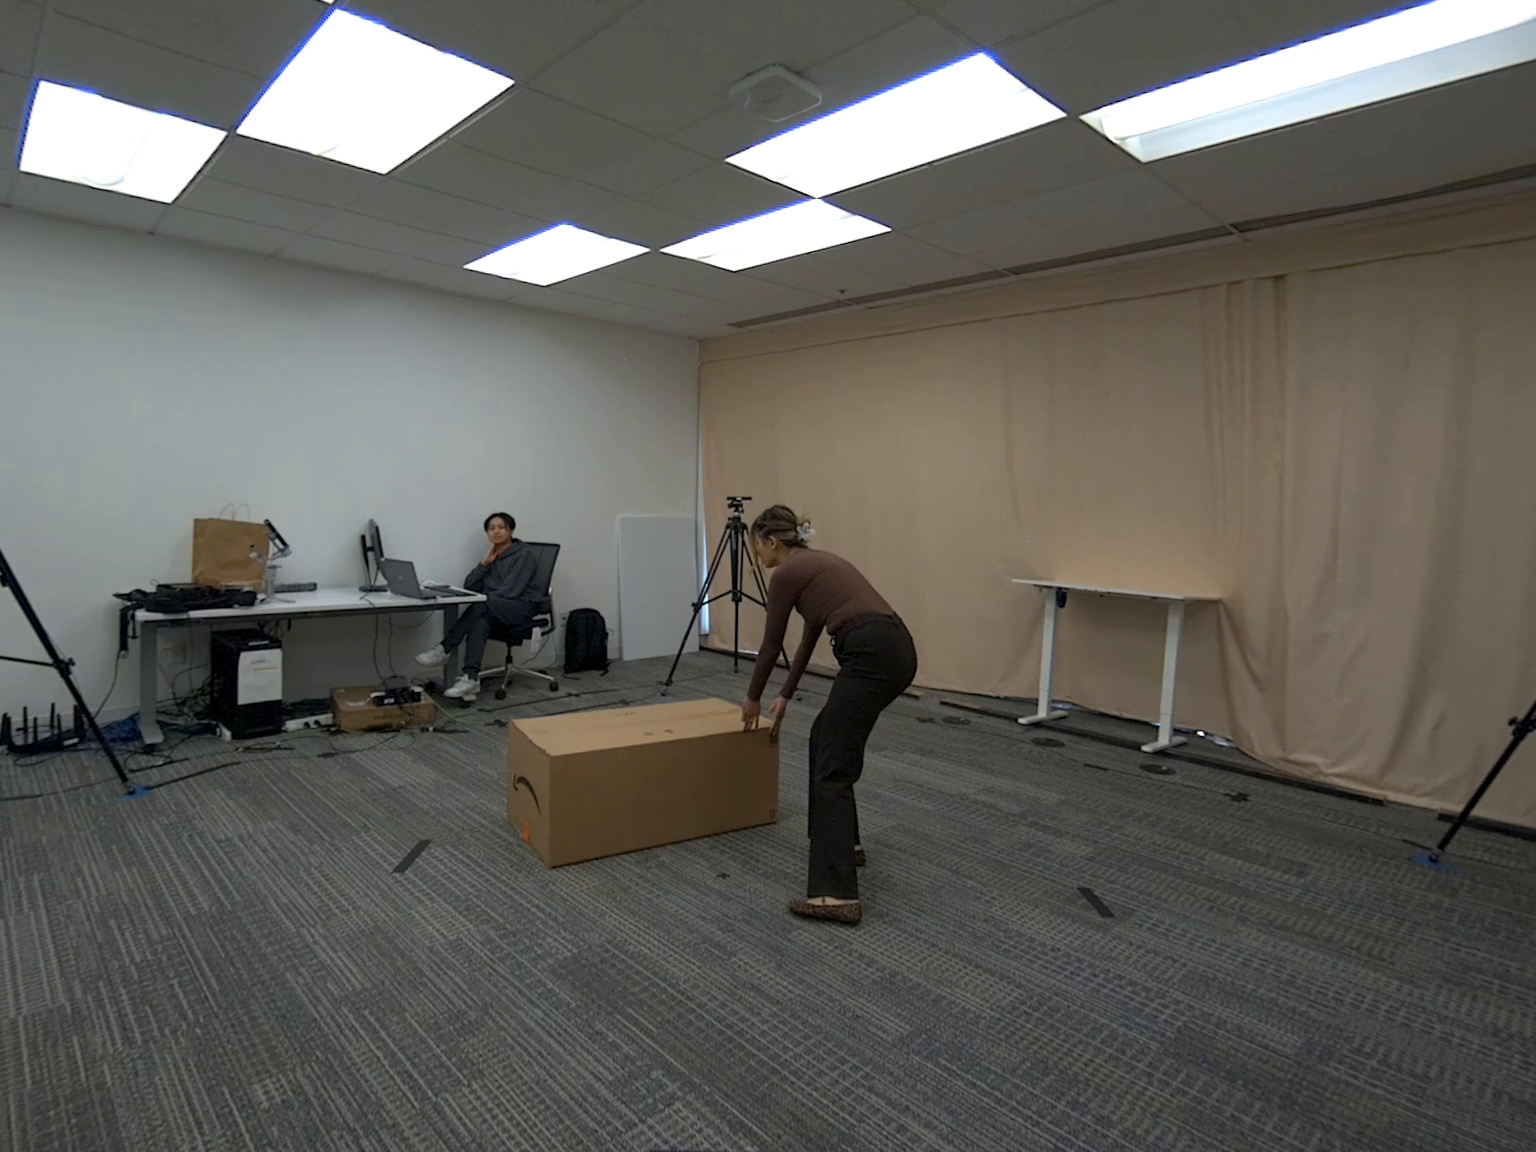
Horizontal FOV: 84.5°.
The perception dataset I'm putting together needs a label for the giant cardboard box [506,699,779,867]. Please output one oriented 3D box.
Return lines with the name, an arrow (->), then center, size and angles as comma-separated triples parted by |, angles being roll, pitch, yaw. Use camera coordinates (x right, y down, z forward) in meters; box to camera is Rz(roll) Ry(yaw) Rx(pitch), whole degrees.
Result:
giant cardboard box -> -0.539, 0.841, 3.615 | 1.006, 0.446, 0.597 | -1, 3, -31
